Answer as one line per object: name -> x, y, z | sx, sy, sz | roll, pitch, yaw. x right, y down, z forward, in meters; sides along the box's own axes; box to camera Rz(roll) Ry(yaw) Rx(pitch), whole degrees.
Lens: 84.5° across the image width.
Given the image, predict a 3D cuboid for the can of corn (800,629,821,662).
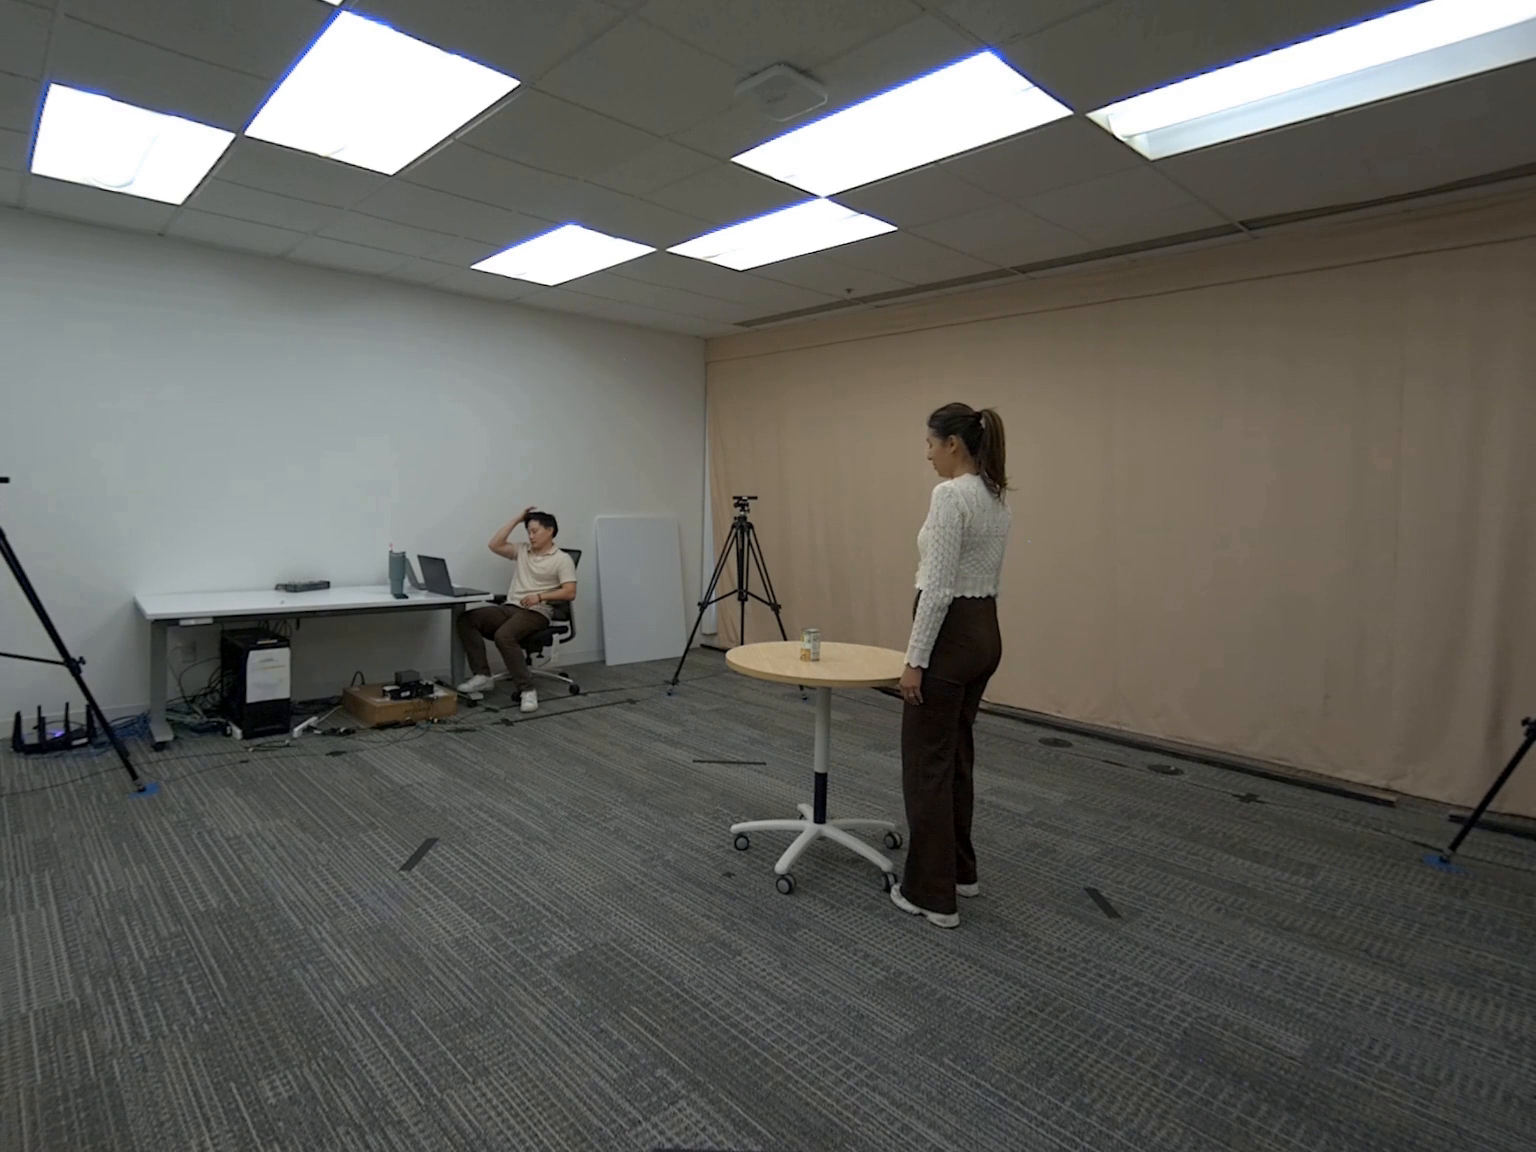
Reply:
can of corn -> 0.163, 0.263, 3.195 | 0.074, 0.111, 0.074 | 4, 4, -2
